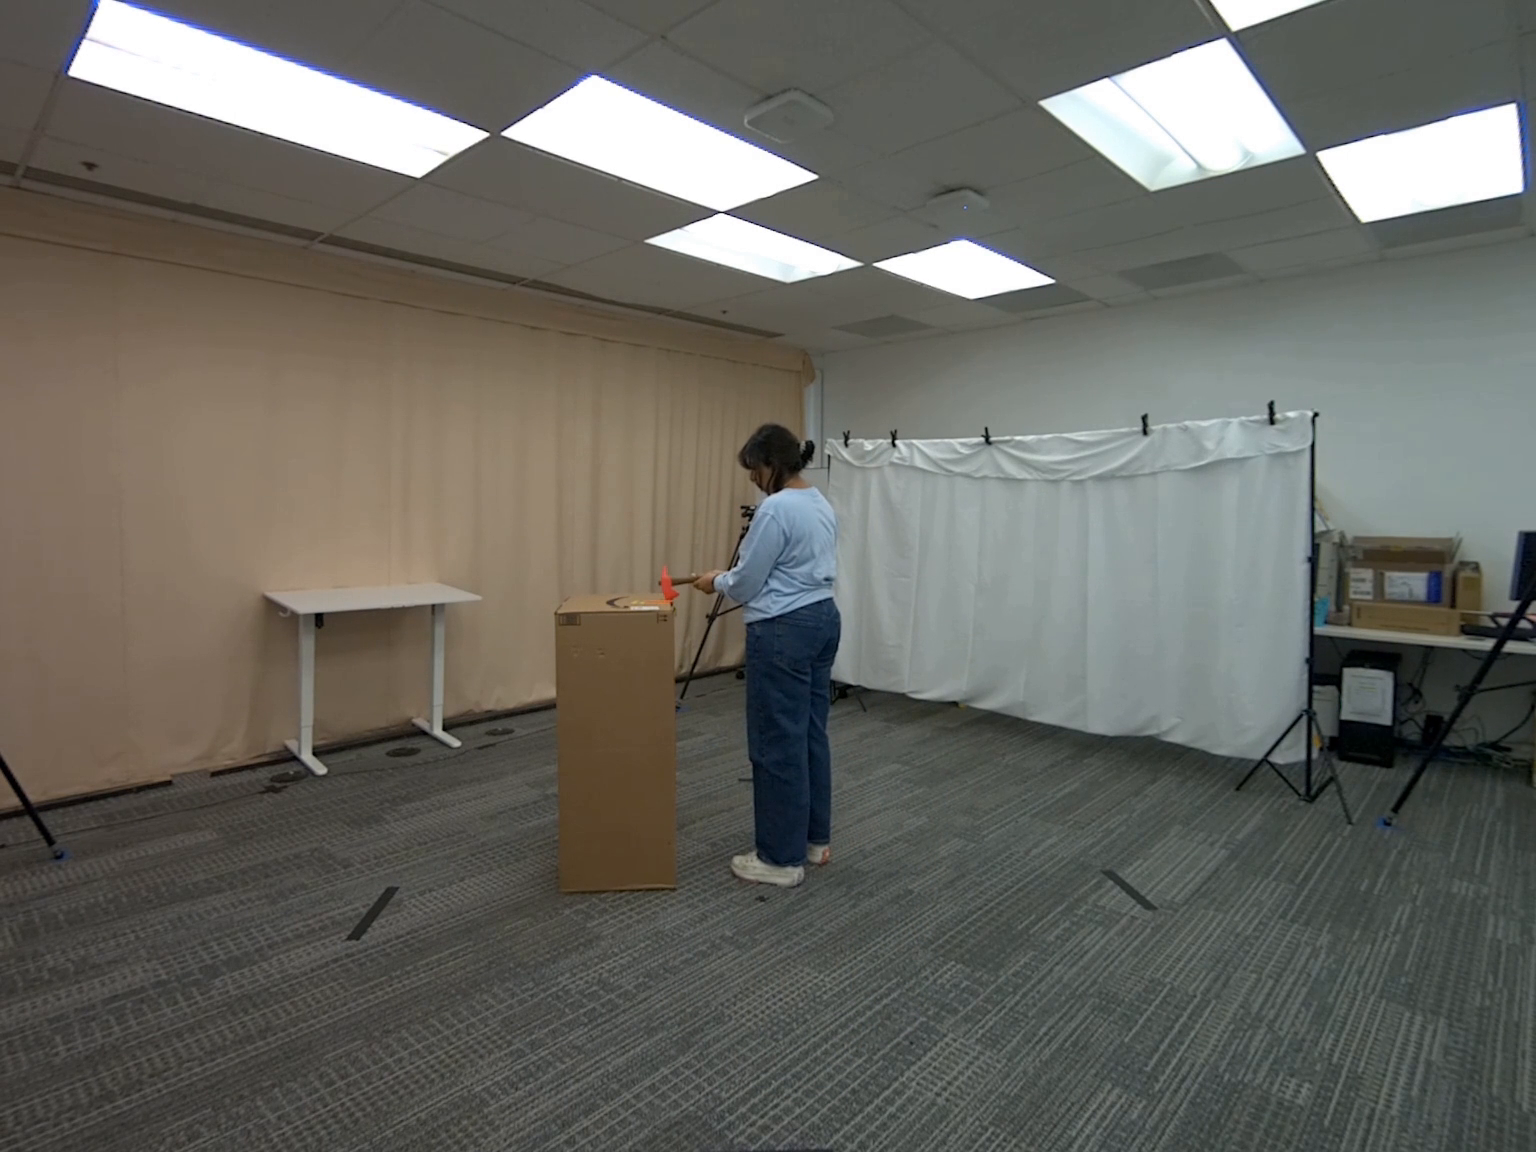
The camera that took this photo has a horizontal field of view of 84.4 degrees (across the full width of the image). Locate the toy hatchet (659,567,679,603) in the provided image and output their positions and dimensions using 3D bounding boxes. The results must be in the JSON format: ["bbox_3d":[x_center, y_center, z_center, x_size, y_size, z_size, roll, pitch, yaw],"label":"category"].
[{"bbox_3d":[-0.308,0.053,3.373,0.275,0.131,0.029,14,0,16],"label":"toy hatchet"}]
